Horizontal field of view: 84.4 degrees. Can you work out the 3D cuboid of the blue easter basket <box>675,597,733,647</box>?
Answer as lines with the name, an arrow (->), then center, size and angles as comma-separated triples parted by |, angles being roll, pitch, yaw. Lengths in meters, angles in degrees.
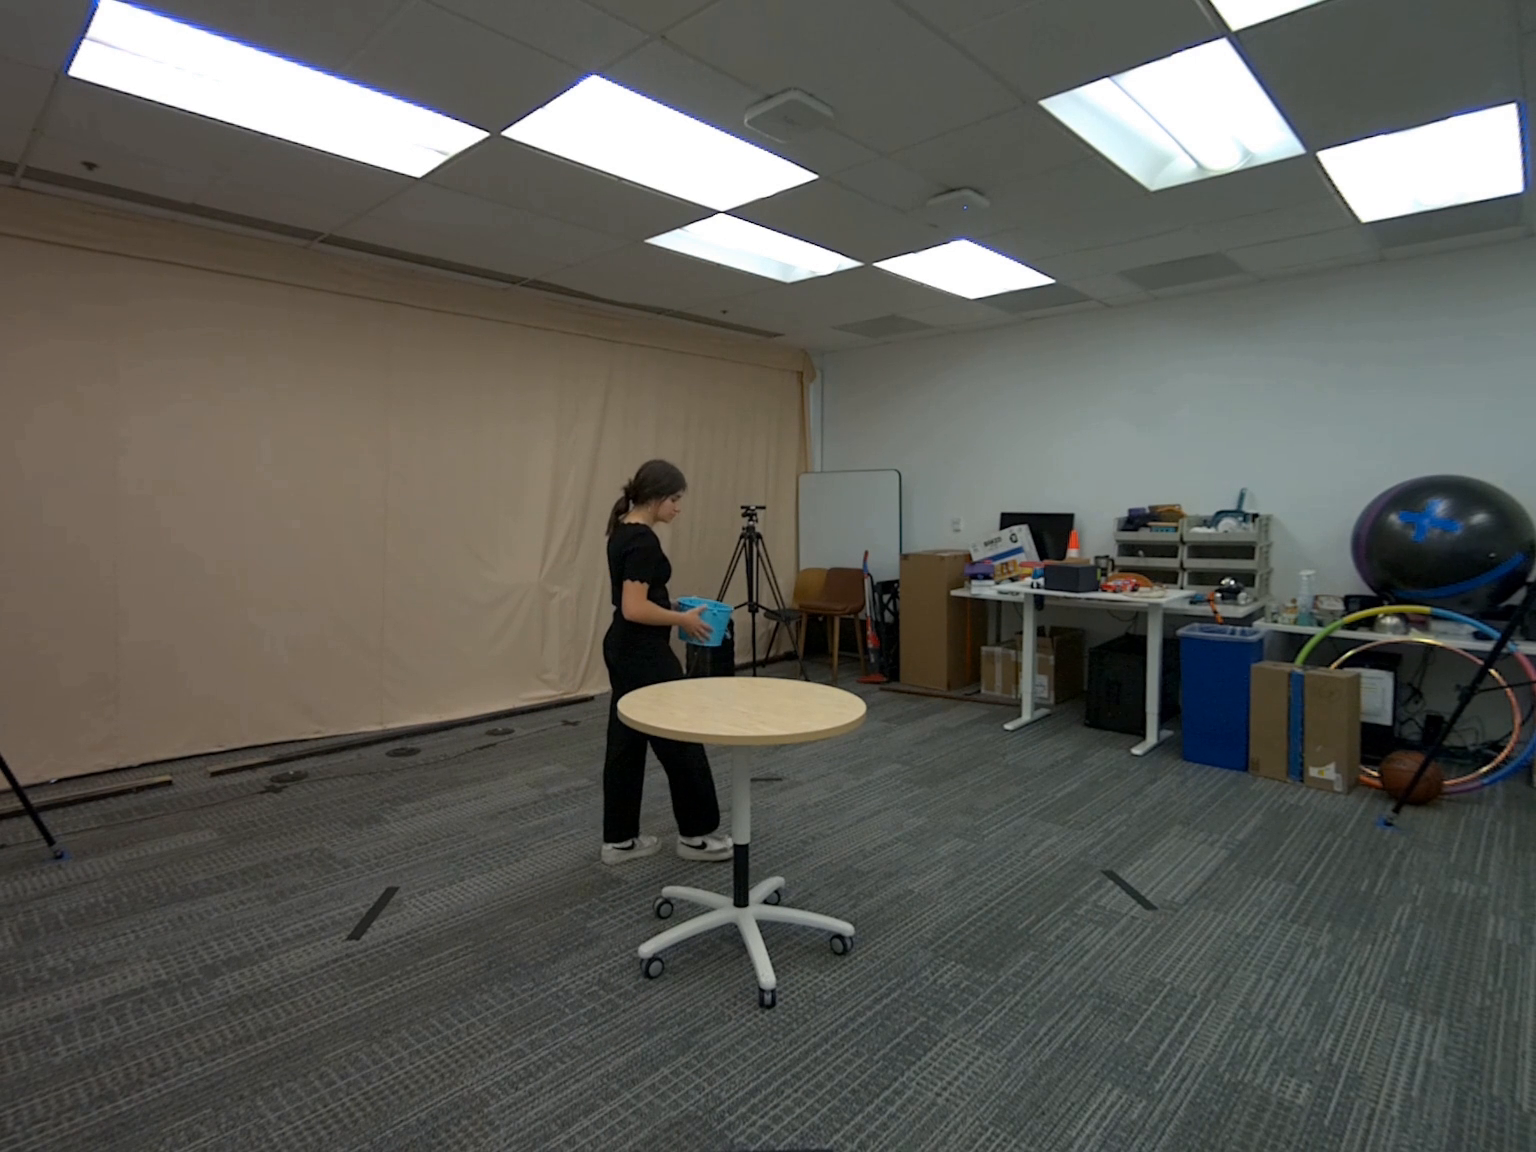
blue easter basket -> -0.263, 0.190, 3.378 | 0.243, 0.155, 0.245 | 8, 5, -3
